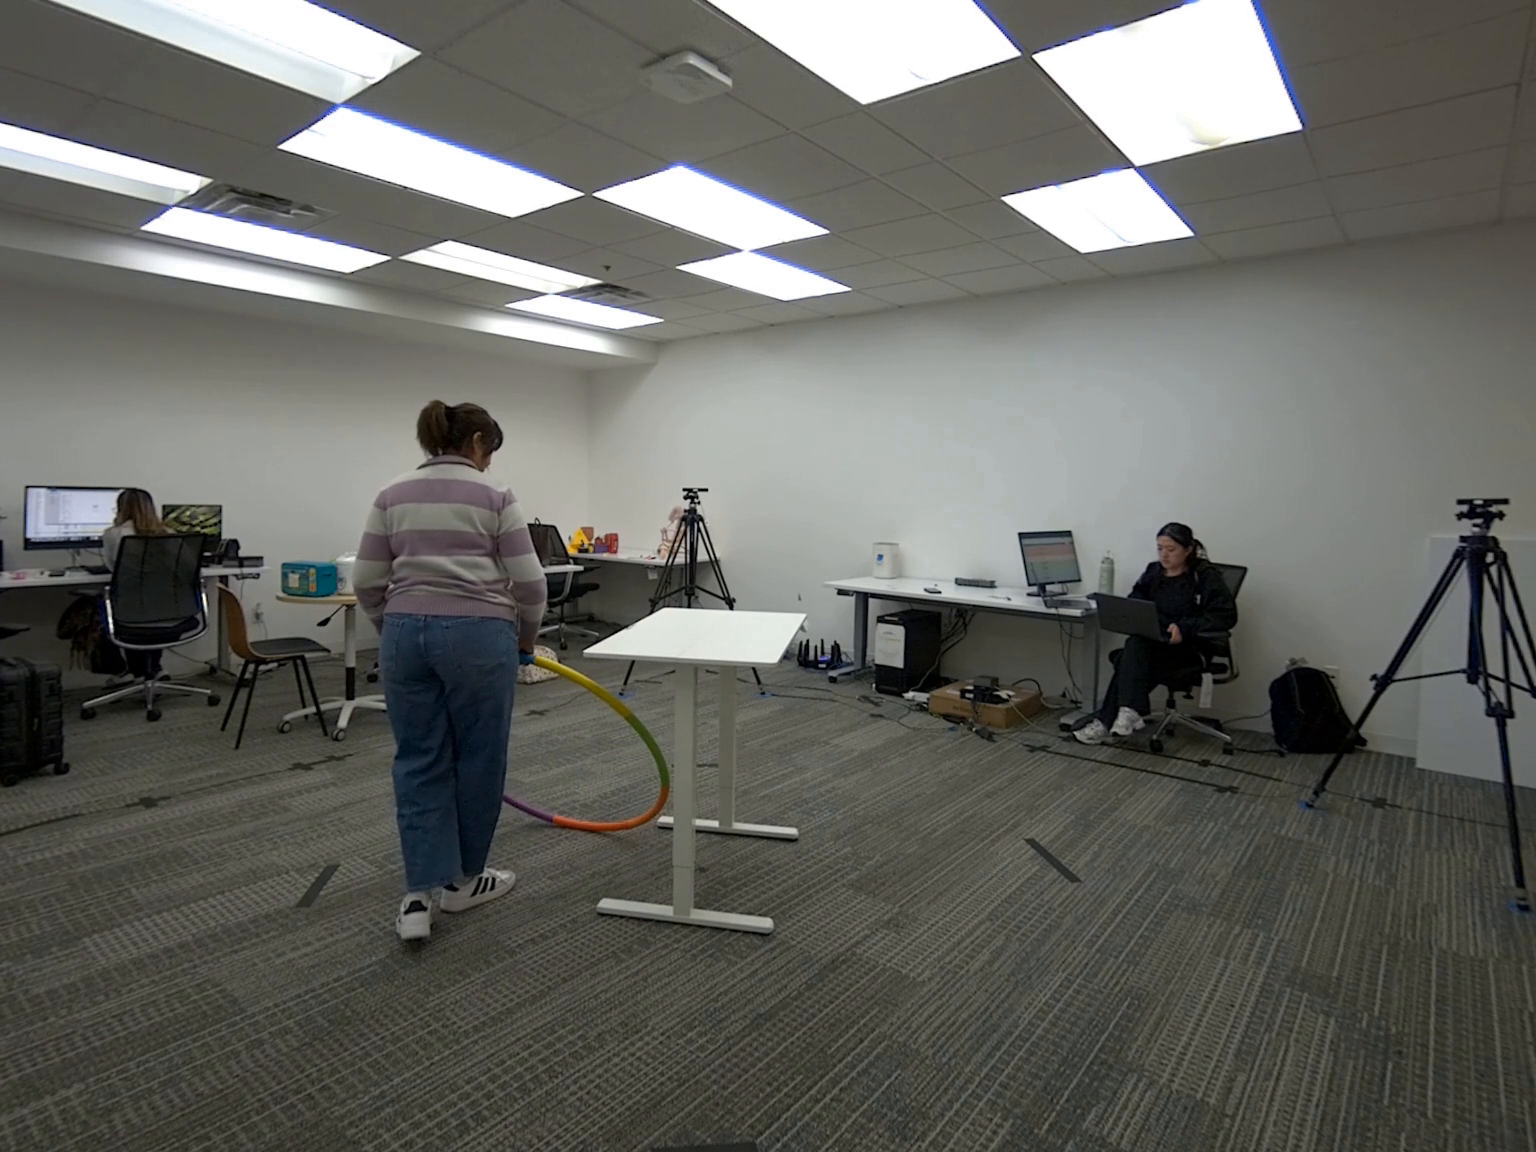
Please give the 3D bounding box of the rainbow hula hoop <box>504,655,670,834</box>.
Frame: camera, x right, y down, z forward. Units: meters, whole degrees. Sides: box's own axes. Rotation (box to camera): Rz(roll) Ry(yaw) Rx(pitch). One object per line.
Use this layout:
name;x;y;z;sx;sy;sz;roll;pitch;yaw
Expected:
rainbow hula hoop;-0.848;0.647;3.194;0.999;0.947;0.036;3;39;19
